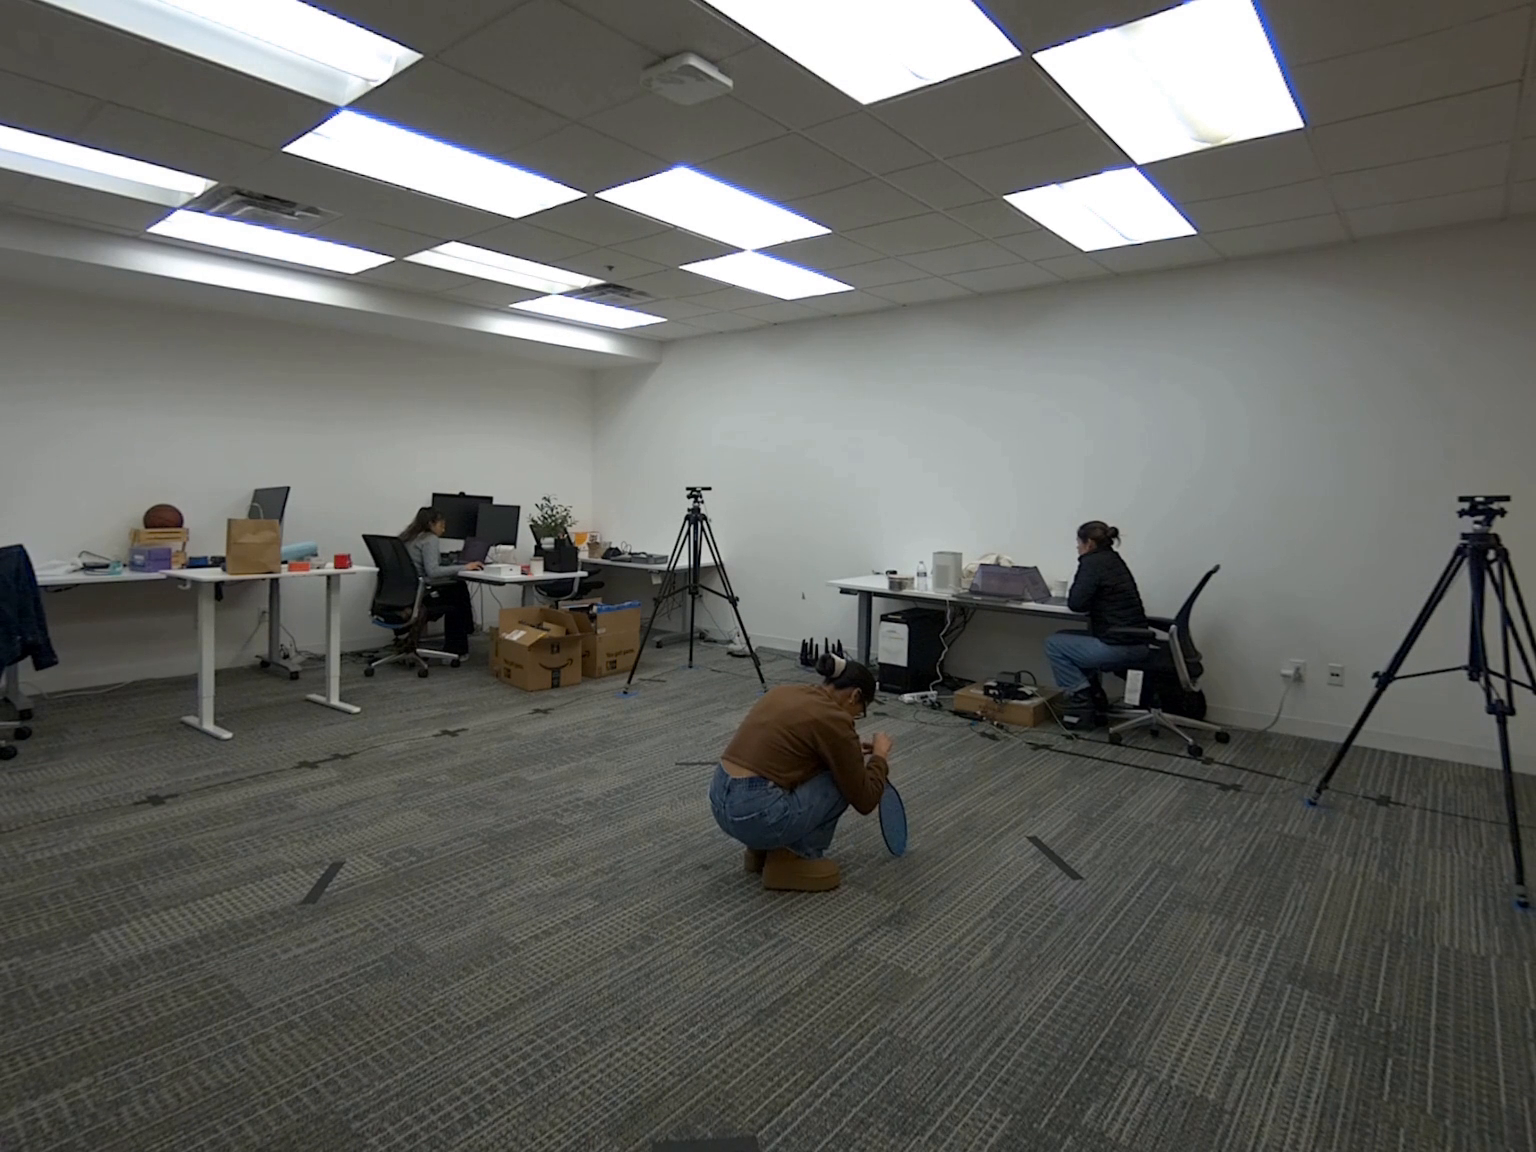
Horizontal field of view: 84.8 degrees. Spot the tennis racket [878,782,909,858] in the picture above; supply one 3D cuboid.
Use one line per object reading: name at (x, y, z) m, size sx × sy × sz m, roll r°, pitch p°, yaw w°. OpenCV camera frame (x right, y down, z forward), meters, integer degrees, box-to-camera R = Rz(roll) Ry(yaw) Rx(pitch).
tennis racket at (0.455, 0.854, 3.276) m, size 0.032 × 0.437 × 0.207 m, roll -15°, pitch -8°, yaw 31°
